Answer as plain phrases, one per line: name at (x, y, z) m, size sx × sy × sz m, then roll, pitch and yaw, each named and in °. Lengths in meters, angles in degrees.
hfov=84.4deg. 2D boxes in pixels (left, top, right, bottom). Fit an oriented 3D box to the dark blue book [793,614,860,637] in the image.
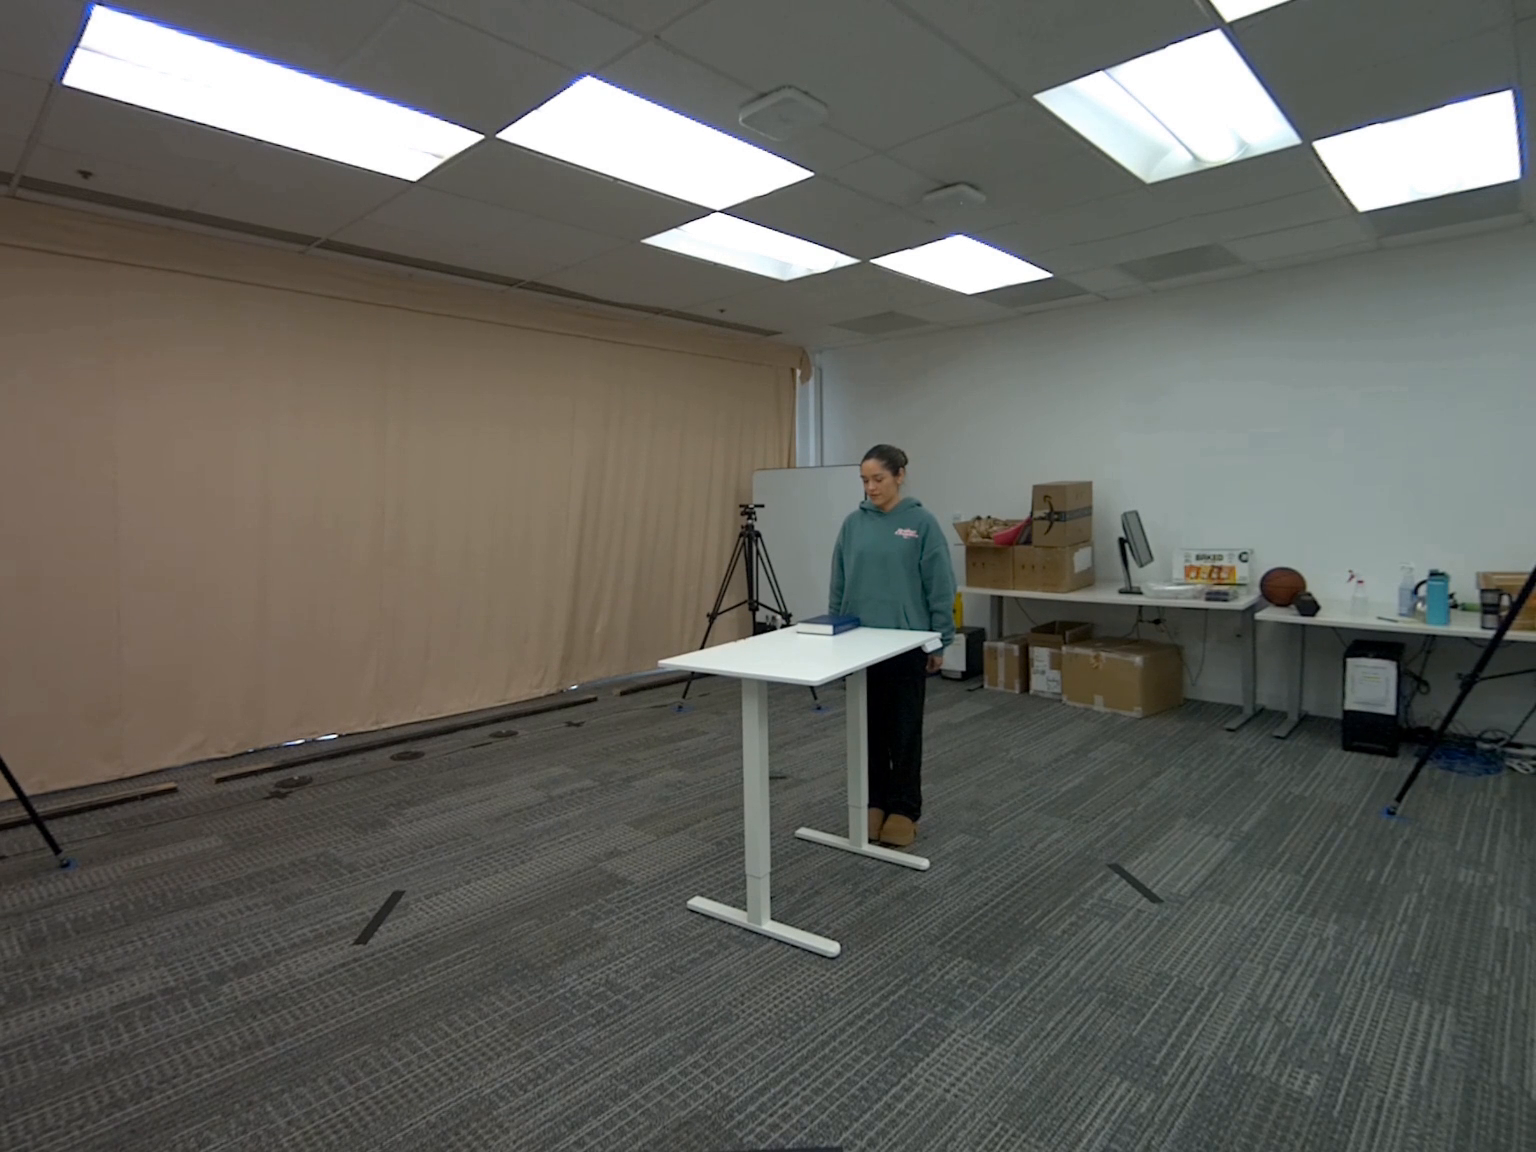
dark blue book at (0.249, 0.198, 3.382) m, size 0.168 × 0.045 × 0.239 m, roll 2°, pitch 6°, yaw 30°
